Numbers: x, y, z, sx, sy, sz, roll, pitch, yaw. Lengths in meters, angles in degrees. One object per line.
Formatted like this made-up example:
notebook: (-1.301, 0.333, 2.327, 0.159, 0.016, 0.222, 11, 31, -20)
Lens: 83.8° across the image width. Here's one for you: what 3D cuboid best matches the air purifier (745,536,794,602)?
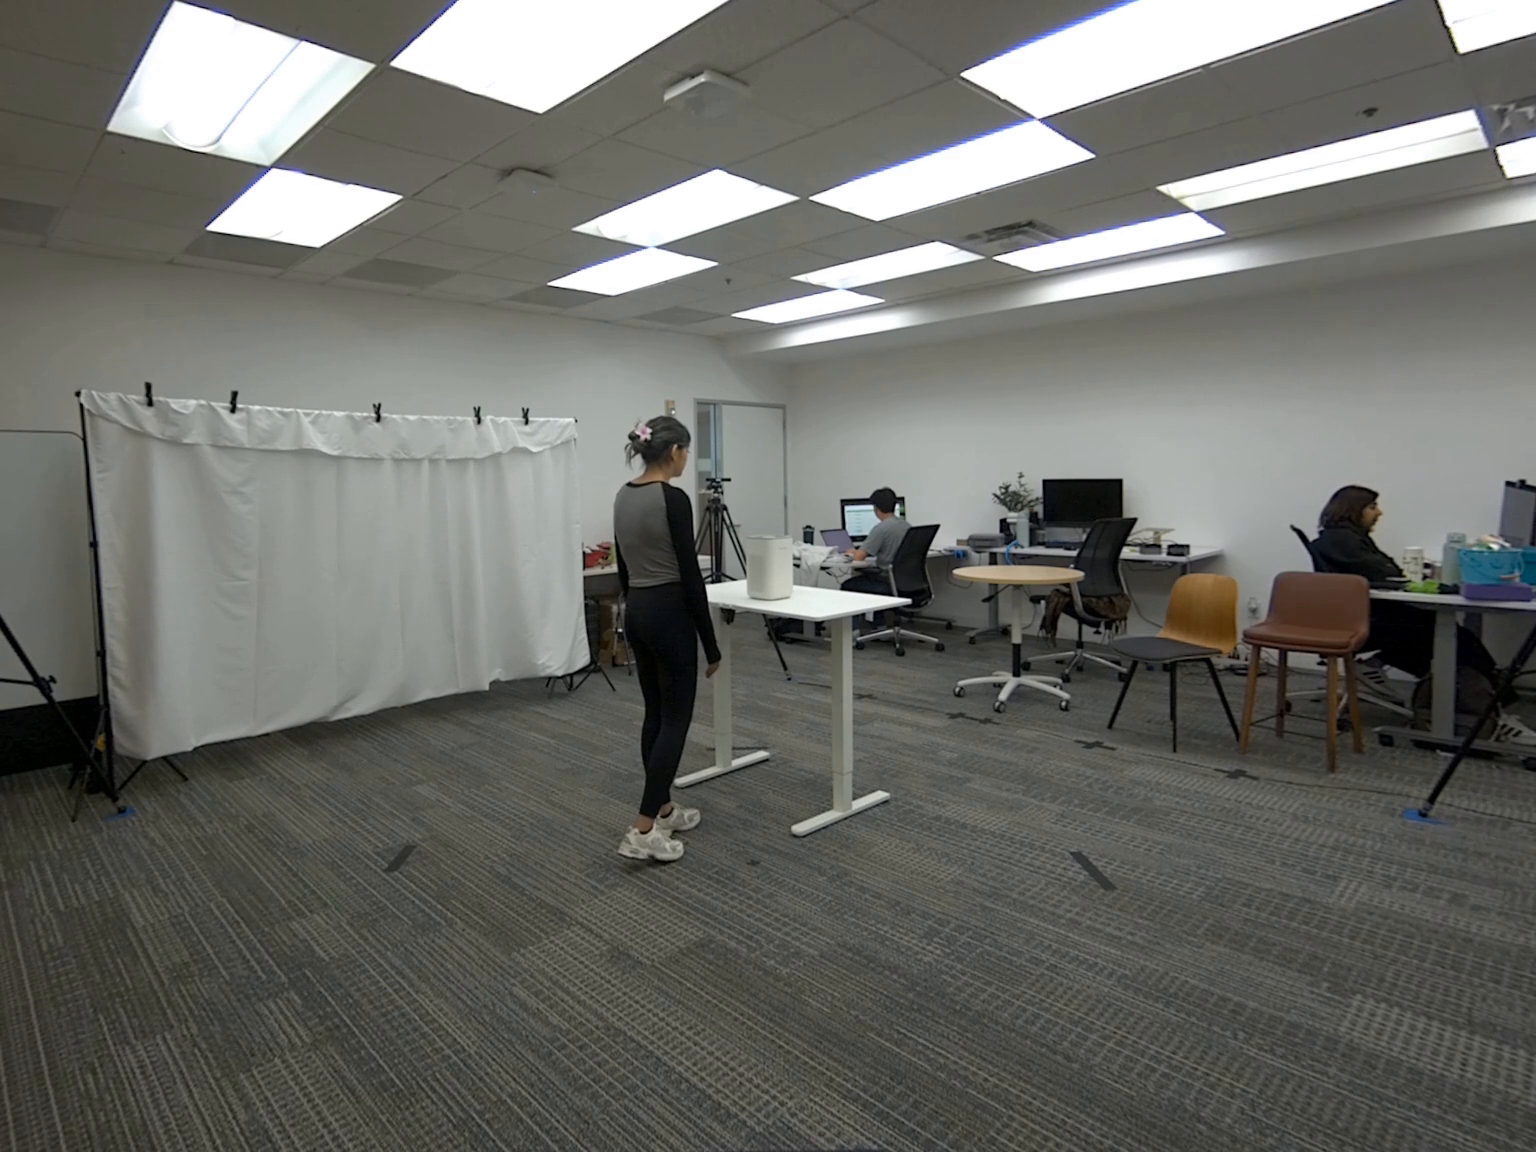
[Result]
air purifier: (0.009, -0.038, 3.682, 0.166, 0.264, 0.177, -5, 7, -44)
